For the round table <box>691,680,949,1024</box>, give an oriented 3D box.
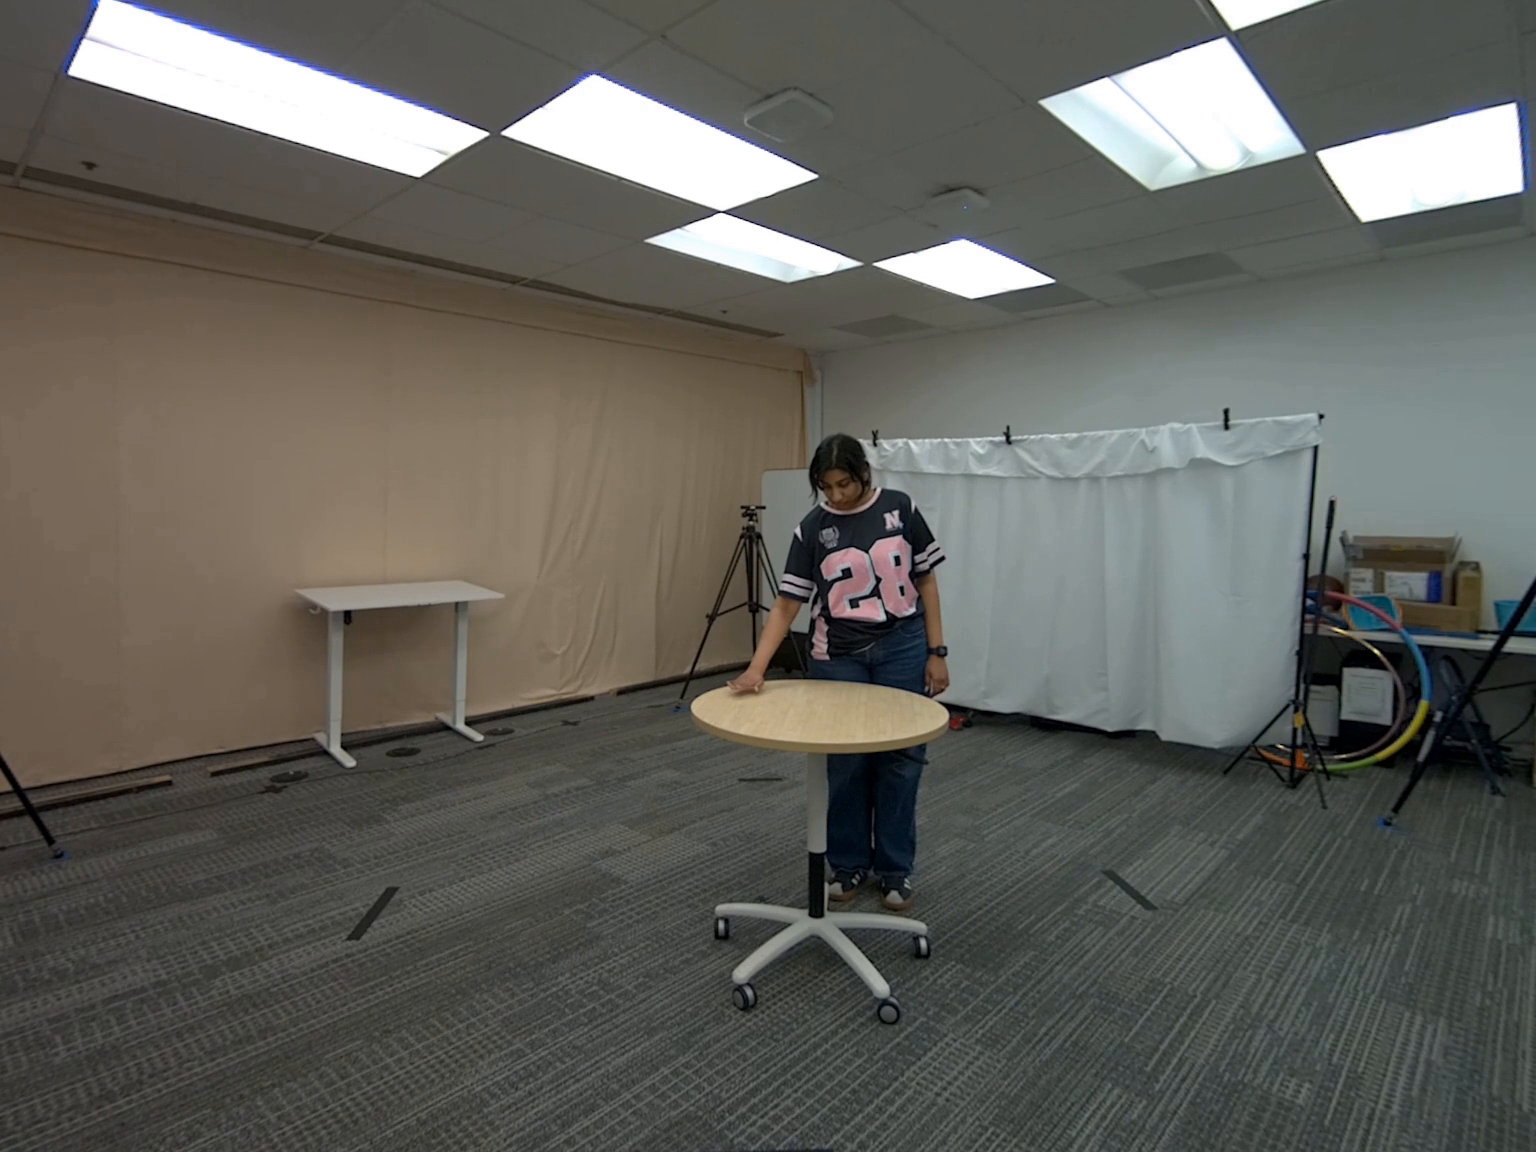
[{"bbox_3d":[0.160,0.788,2.550,0.784,0.784,0.788,0,4,-2],"label":"round table"}]
